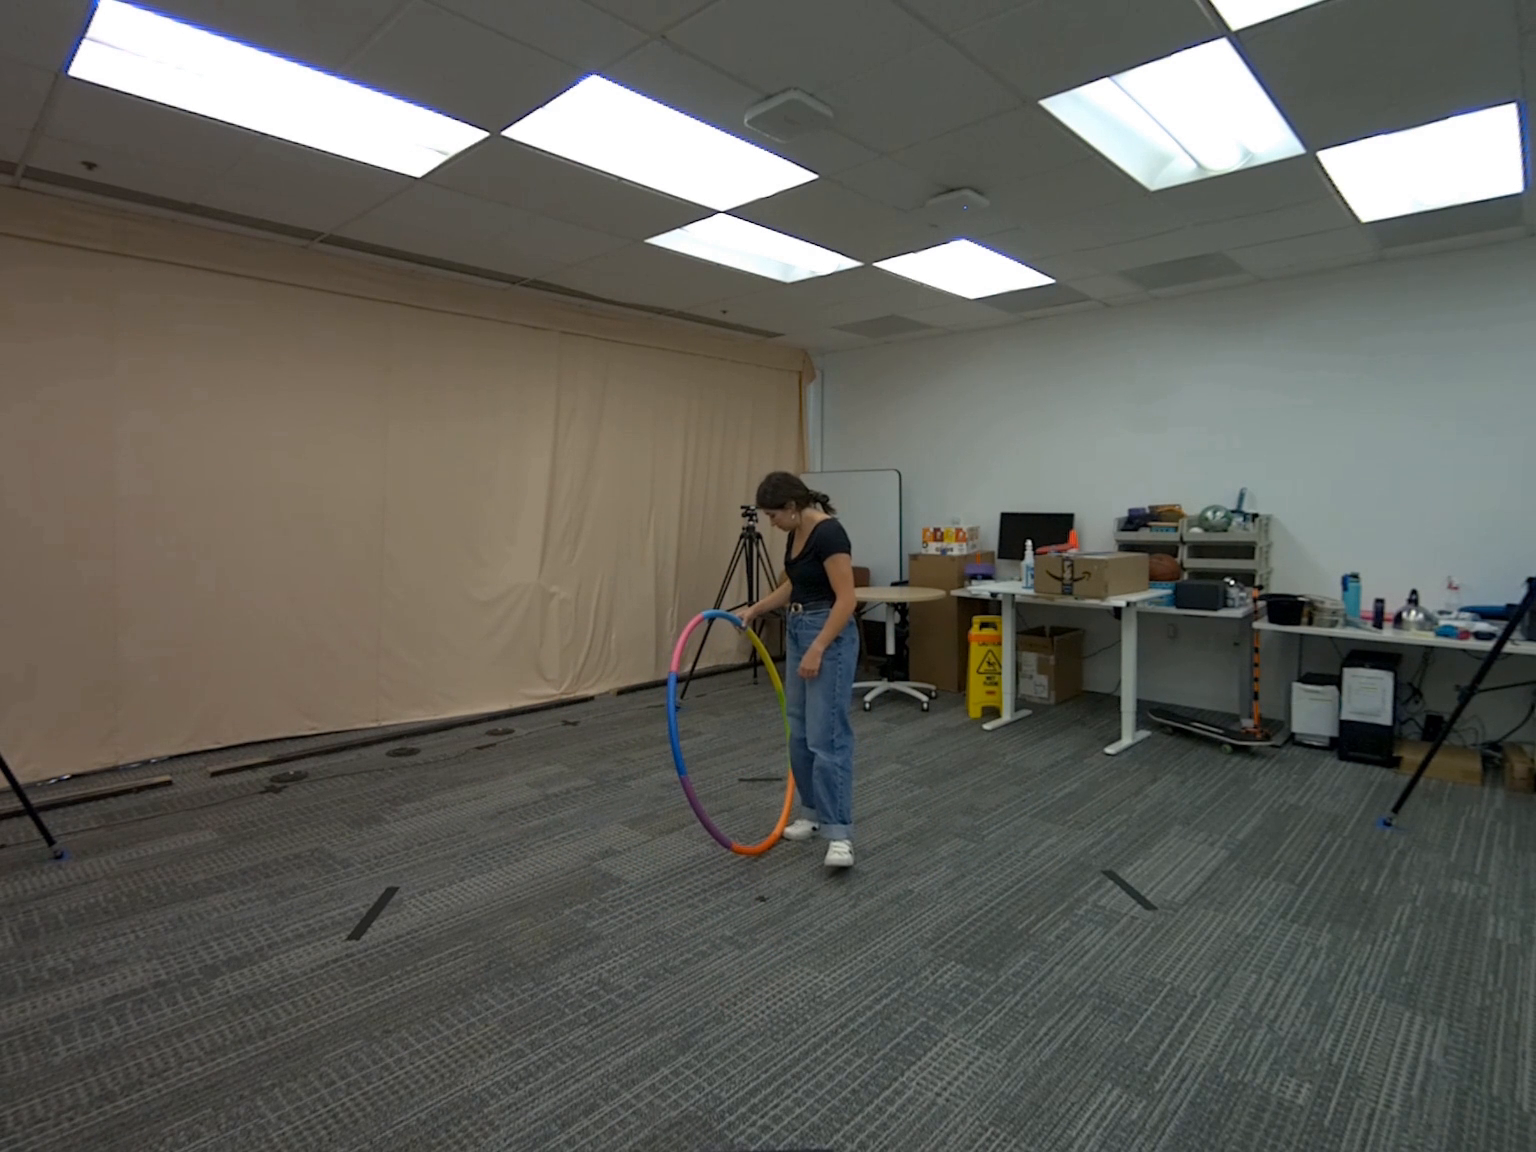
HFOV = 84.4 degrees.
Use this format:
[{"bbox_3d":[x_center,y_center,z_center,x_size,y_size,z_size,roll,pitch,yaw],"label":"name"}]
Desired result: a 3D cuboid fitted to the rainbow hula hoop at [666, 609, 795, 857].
[{"bbox_3d":[-0.123,0.629,3.448,0.036,0.983,0.954,-17,-5,26],"label":"rainbow hula hoop"}]
